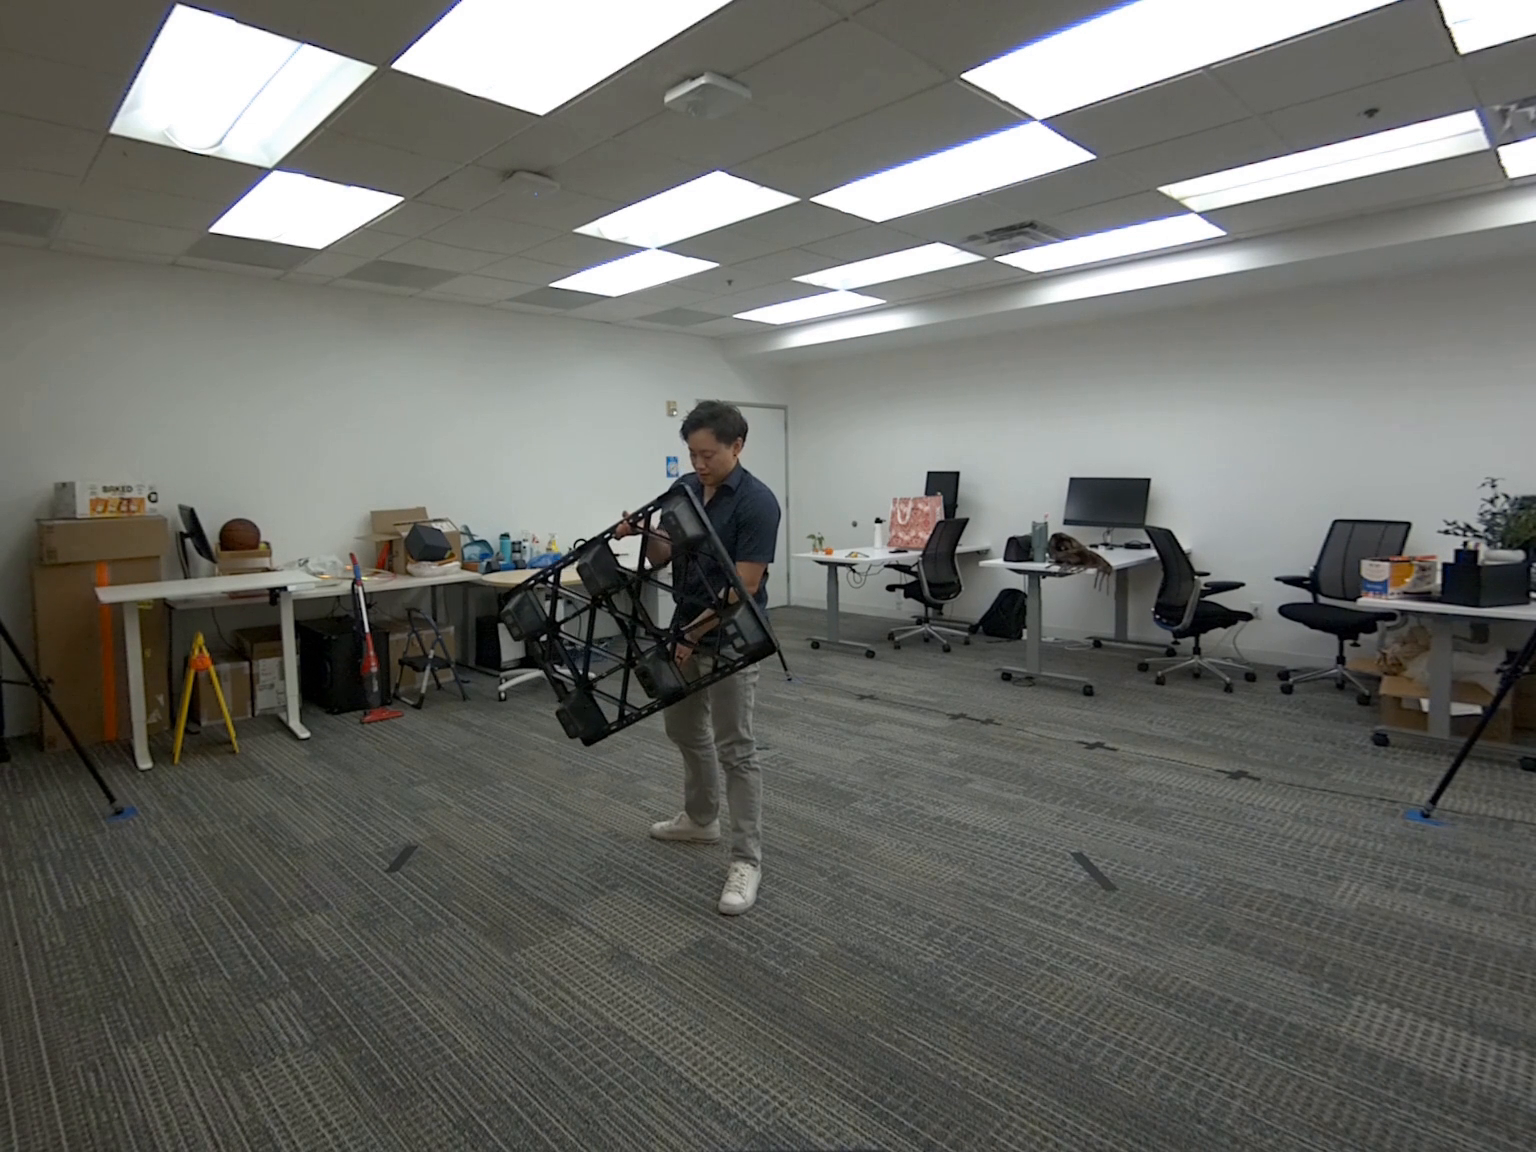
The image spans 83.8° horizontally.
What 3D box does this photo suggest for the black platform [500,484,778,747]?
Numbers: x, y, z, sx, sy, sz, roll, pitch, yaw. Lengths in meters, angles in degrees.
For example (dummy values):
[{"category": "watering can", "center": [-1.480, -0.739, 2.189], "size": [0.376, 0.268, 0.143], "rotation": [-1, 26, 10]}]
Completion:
[{"category": "black platform", "center": [-0.453, 0.162, 2.732], "size": [0.812, 0.605, 0.142], "rotation": [-29, 0, 21]}]
